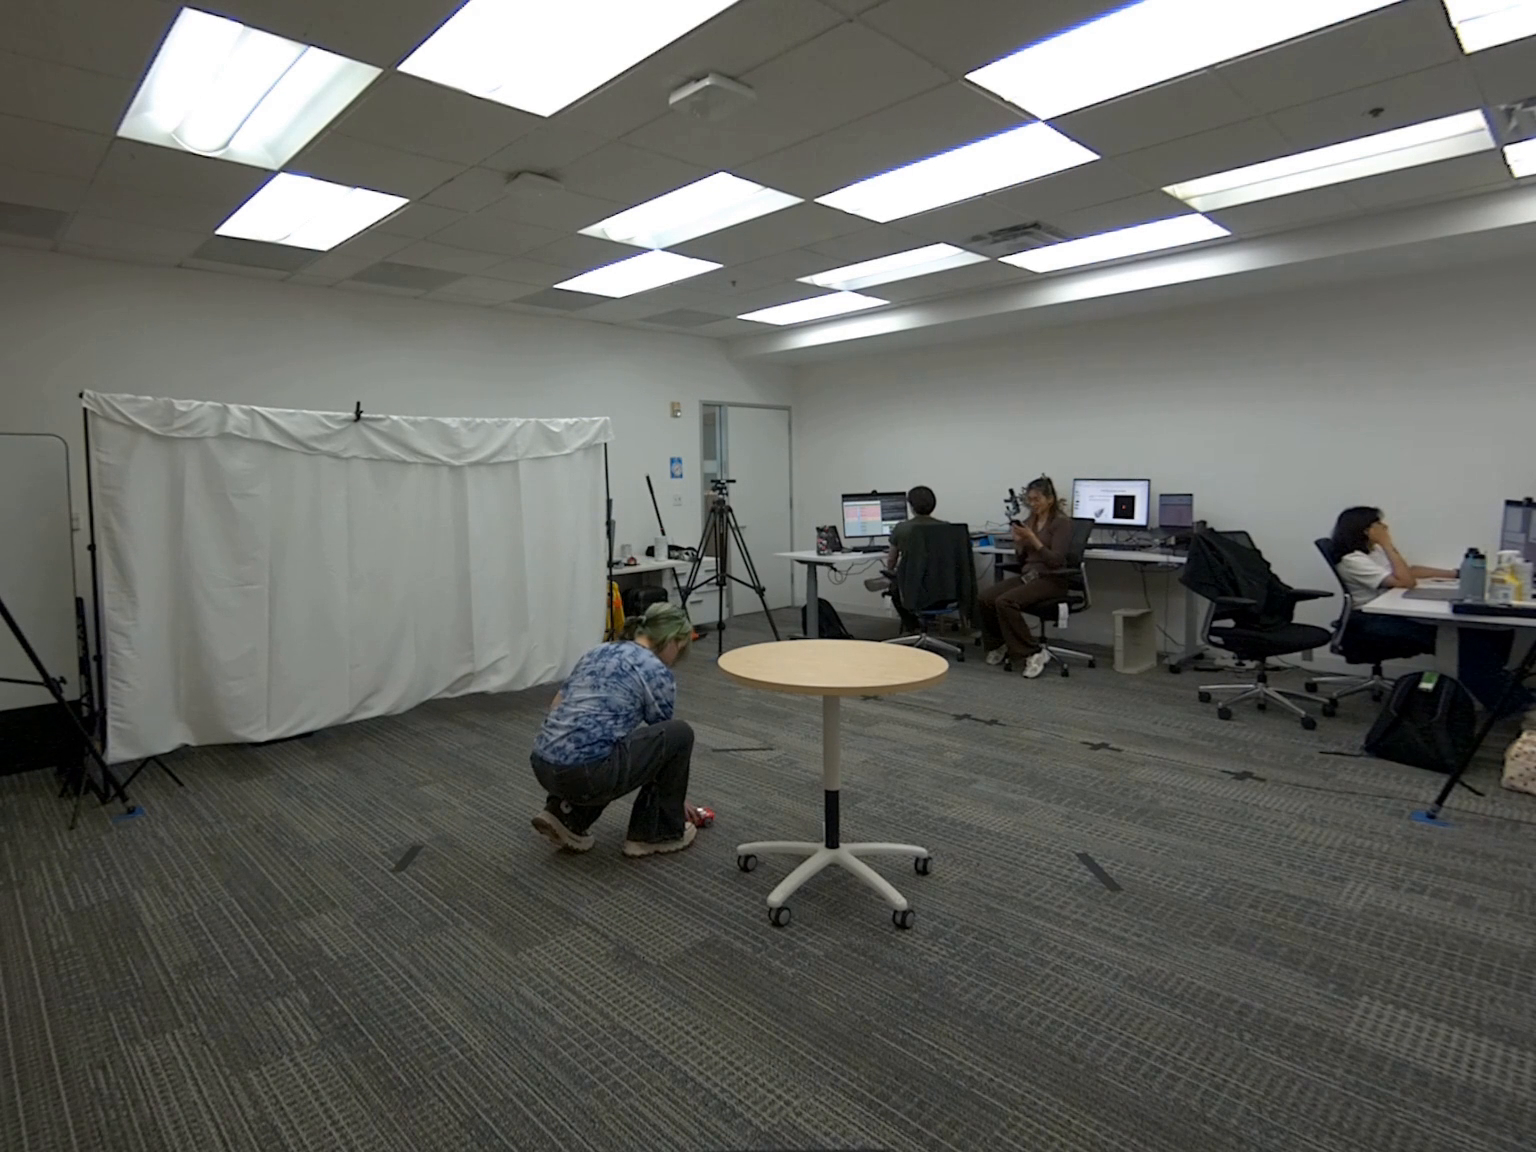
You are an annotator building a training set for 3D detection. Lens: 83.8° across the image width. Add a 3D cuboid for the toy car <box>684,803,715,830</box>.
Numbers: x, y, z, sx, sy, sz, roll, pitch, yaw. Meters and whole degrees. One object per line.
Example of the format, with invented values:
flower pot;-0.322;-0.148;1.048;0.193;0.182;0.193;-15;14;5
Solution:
toy car;-0.350;0.982;3.450;0.249;0.083;0.133;6;2;-22
